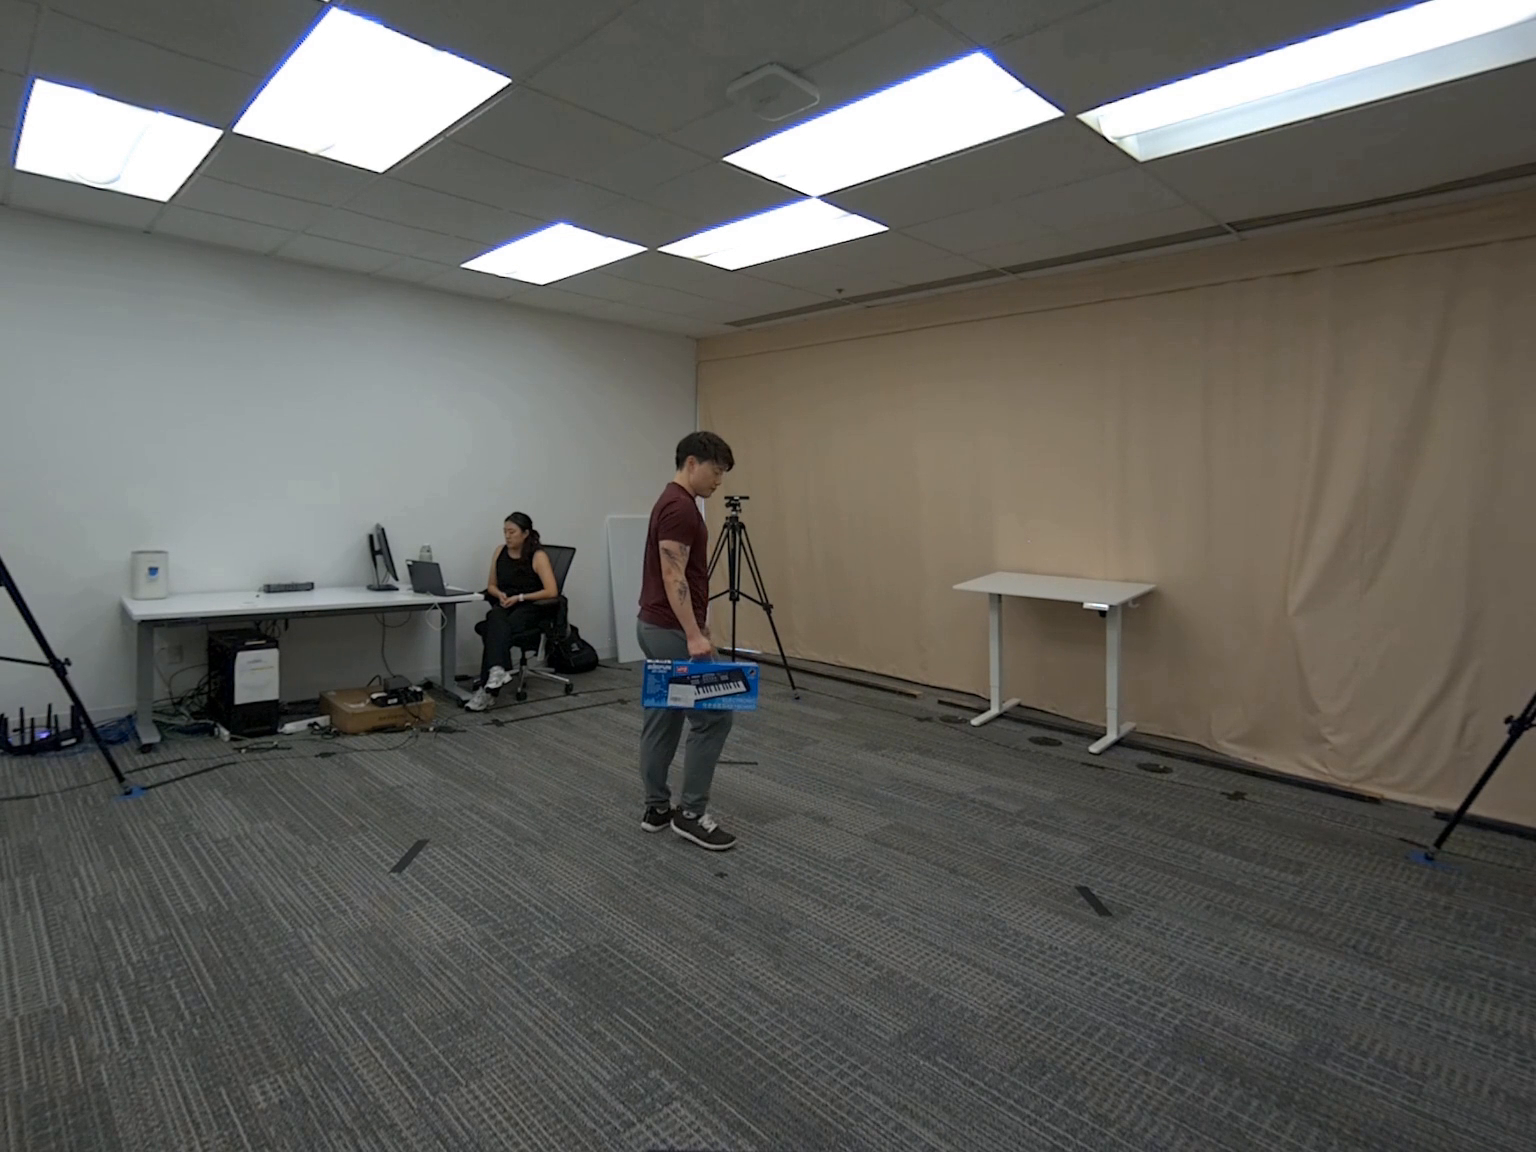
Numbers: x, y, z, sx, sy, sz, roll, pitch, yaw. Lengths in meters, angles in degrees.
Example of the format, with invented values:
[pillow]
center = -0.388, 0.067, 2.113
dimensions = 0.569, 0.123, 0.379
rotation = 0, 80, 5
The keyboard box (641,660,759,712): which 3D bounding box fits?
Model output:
[keyboard box]
center = -0.263, 0.417, 3.205
dimensions = 0.434, 0.175, 0.059
rotation = 2, 3, -8
